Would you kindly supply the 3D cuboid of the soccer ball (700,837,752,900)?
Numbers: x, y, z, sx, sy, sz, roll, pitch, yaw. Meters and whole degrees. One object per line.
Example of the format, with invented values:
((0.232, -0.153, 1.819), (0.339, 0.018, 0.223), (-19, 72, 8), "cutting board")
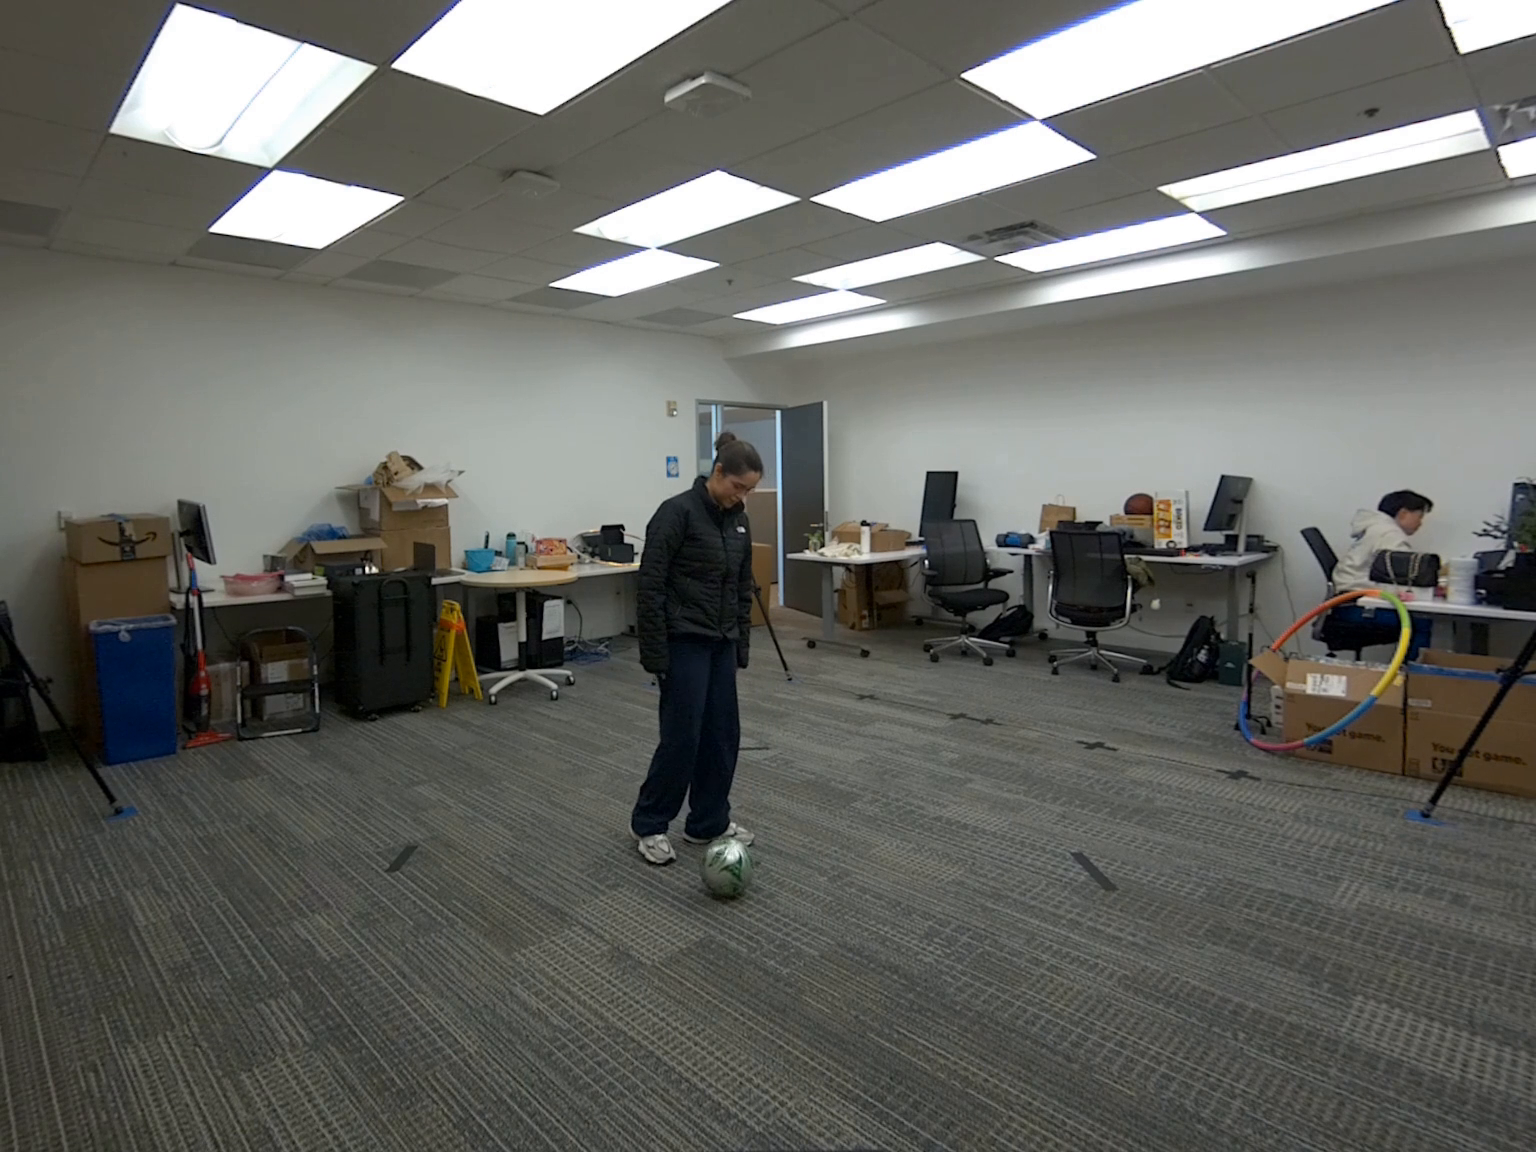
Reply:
((-0.137, 0.980, 2.876), (0.187, 0.187, 0.188), (-1, 5, -2), "soccer ball")
